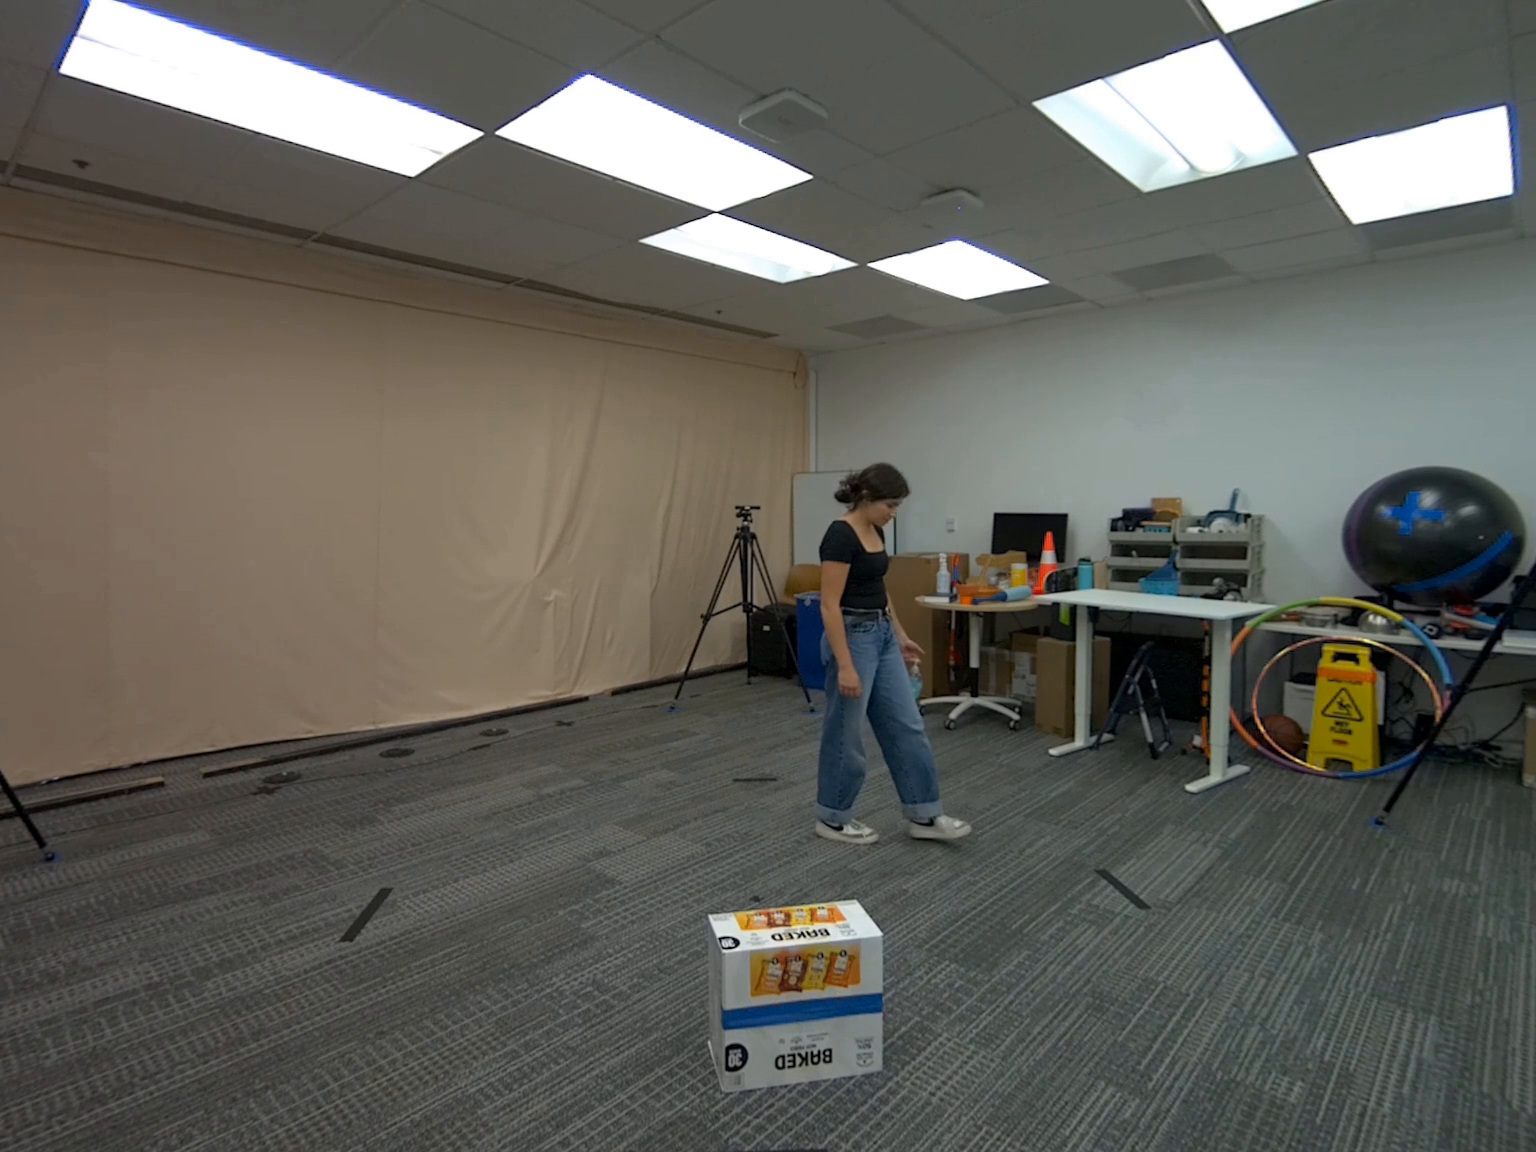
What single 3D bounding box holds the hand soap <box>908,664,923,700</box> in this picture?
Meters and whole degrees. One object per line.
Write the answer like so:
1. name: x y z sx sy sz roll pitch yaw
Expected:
1. hand soap: 0.638 0.445 3.649 0.085 0.168 0.043 11 0 5
